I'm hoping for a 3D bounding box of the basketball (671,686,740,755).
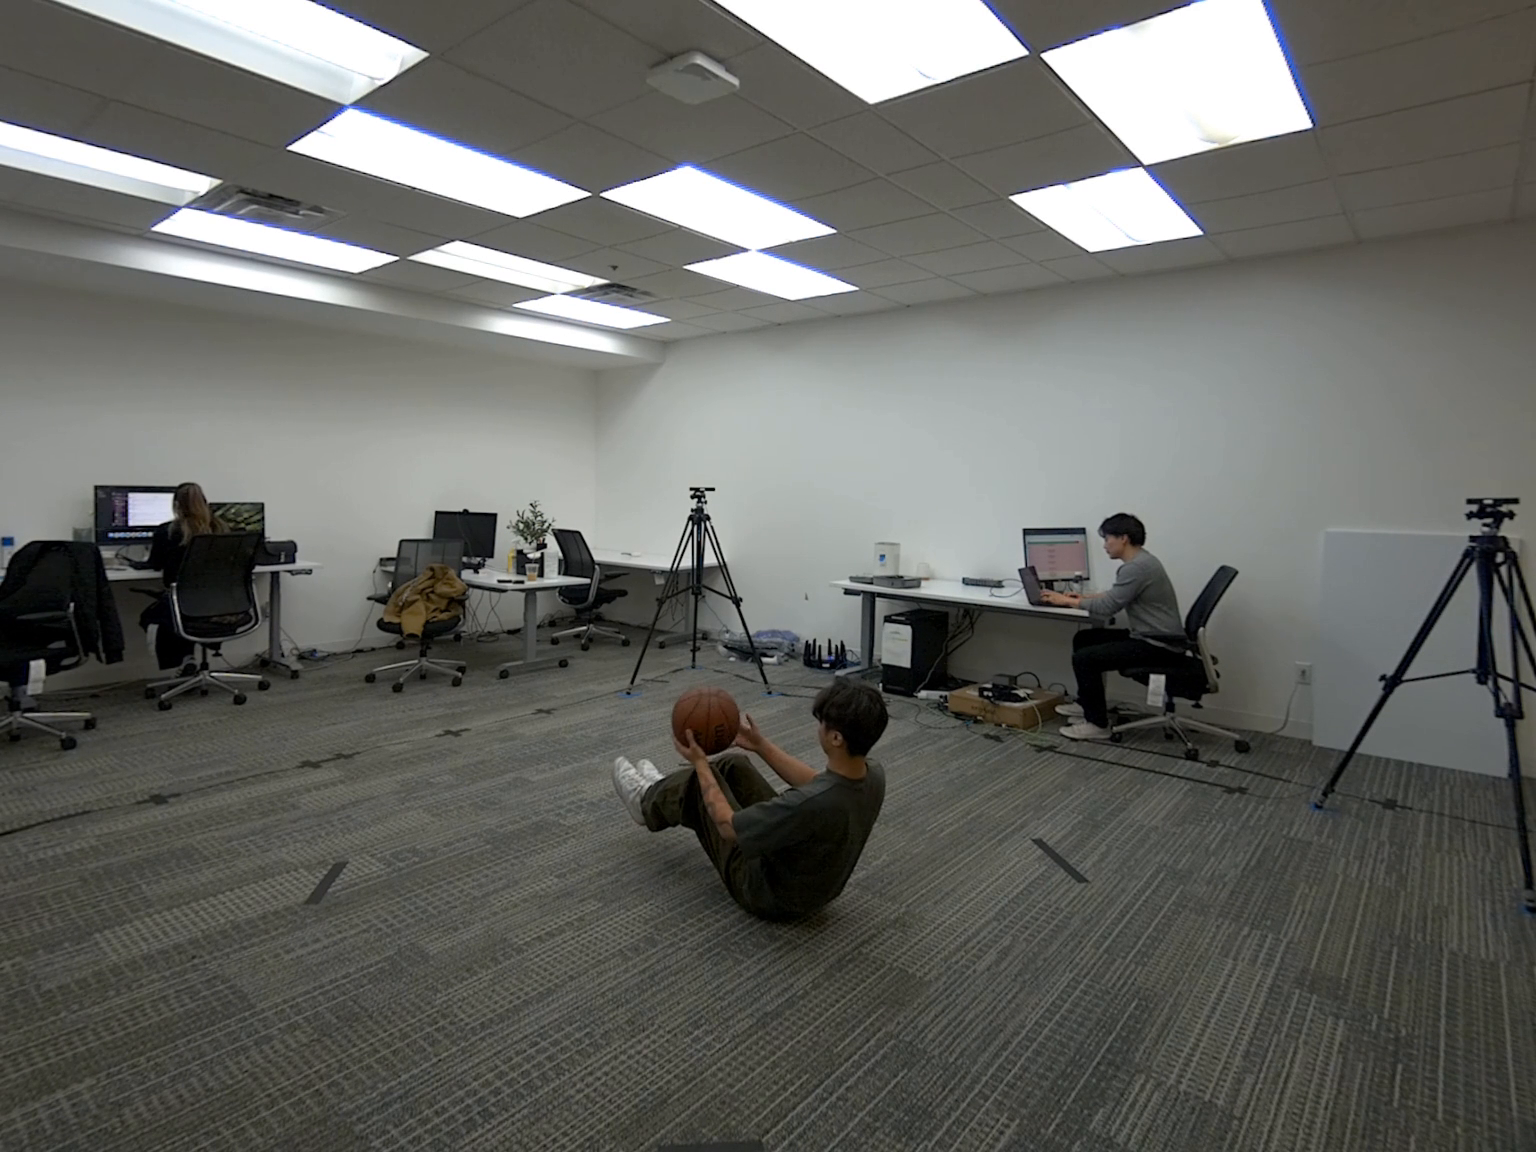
[{"bbox_3d":[-0.230,0.505,2.928,0.235,0.235,0.237,1,4,-2],"label":"basketball"}]
